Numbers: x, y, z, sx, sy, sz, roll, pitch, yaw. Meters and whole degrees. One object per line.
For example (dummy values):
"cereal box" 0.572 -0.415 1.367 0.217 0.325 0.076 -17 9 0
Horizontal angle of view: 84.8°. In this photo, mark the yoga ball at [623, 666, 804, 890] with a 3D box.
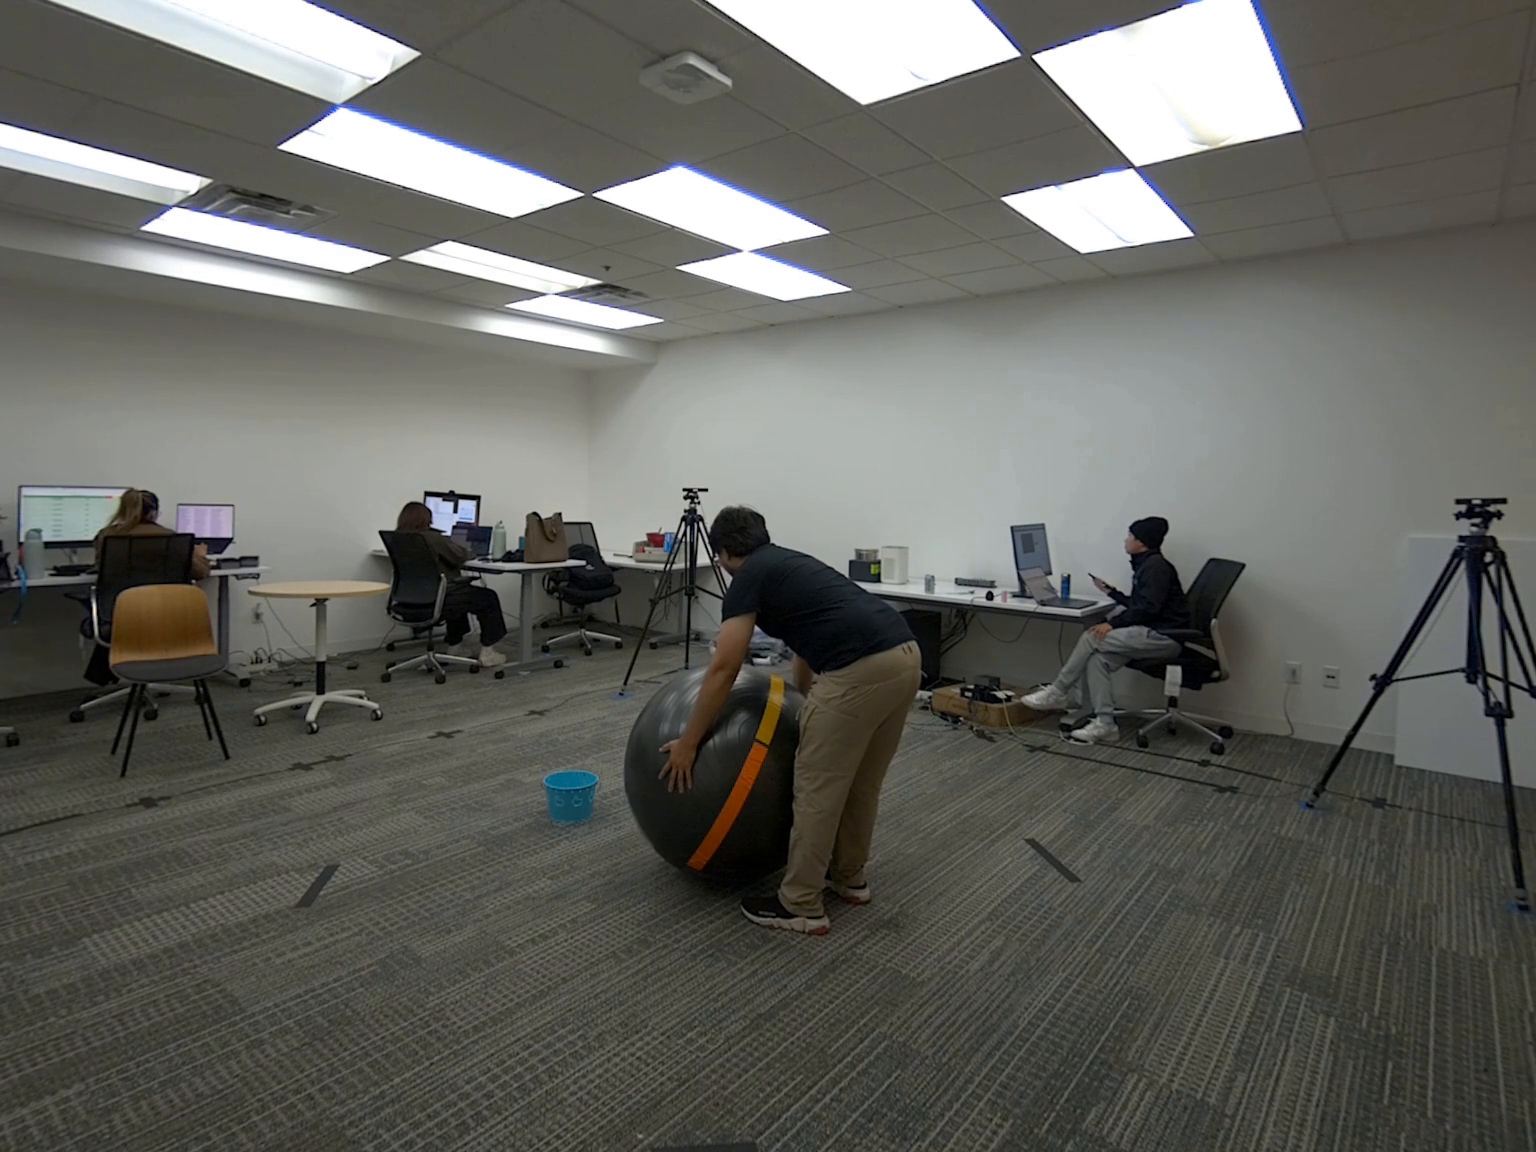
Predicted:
"yoga ball" -0.150 0.701 3.077 0.757 0.756 0.762 1 4 -2
